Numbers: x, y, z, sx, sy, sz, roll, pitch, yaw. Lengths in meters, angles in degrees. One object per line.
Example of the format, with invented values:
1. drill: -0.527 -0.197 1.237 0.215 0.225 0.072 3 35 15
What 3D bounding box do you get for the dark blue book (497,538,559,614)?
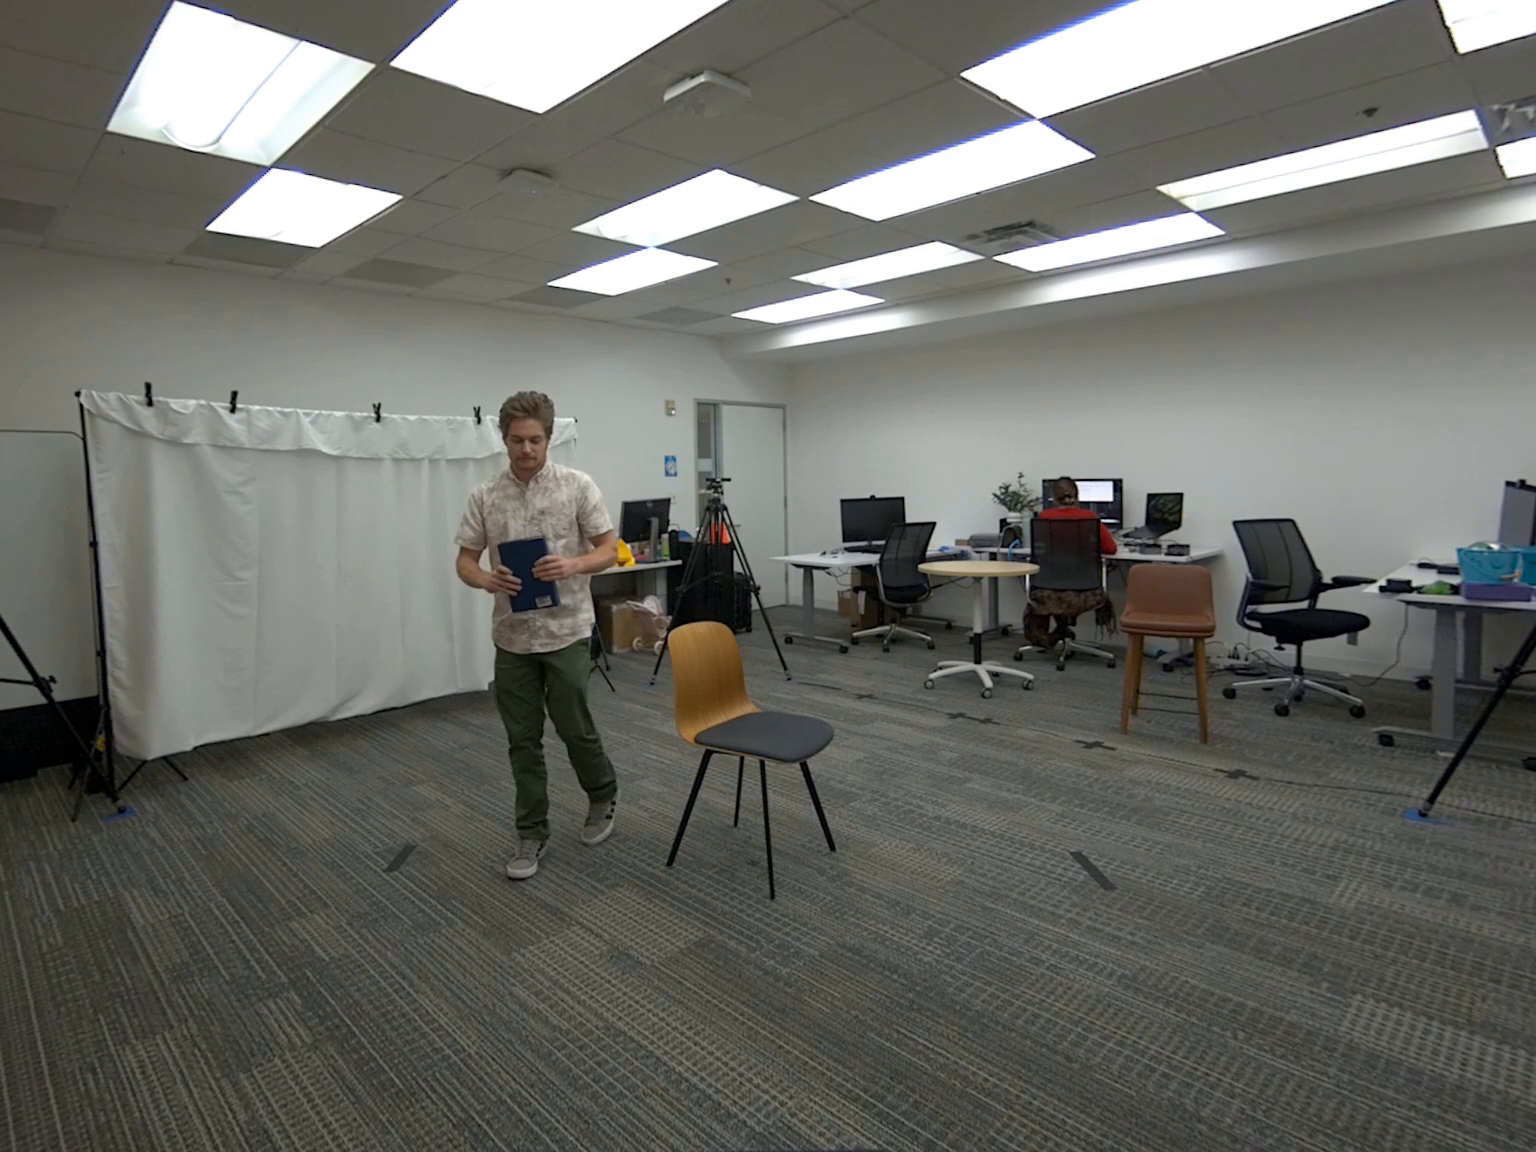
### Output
1. dark blue book: -0.828 -0.002 2.914 0.164 0.242 0.045 -9 11 3
